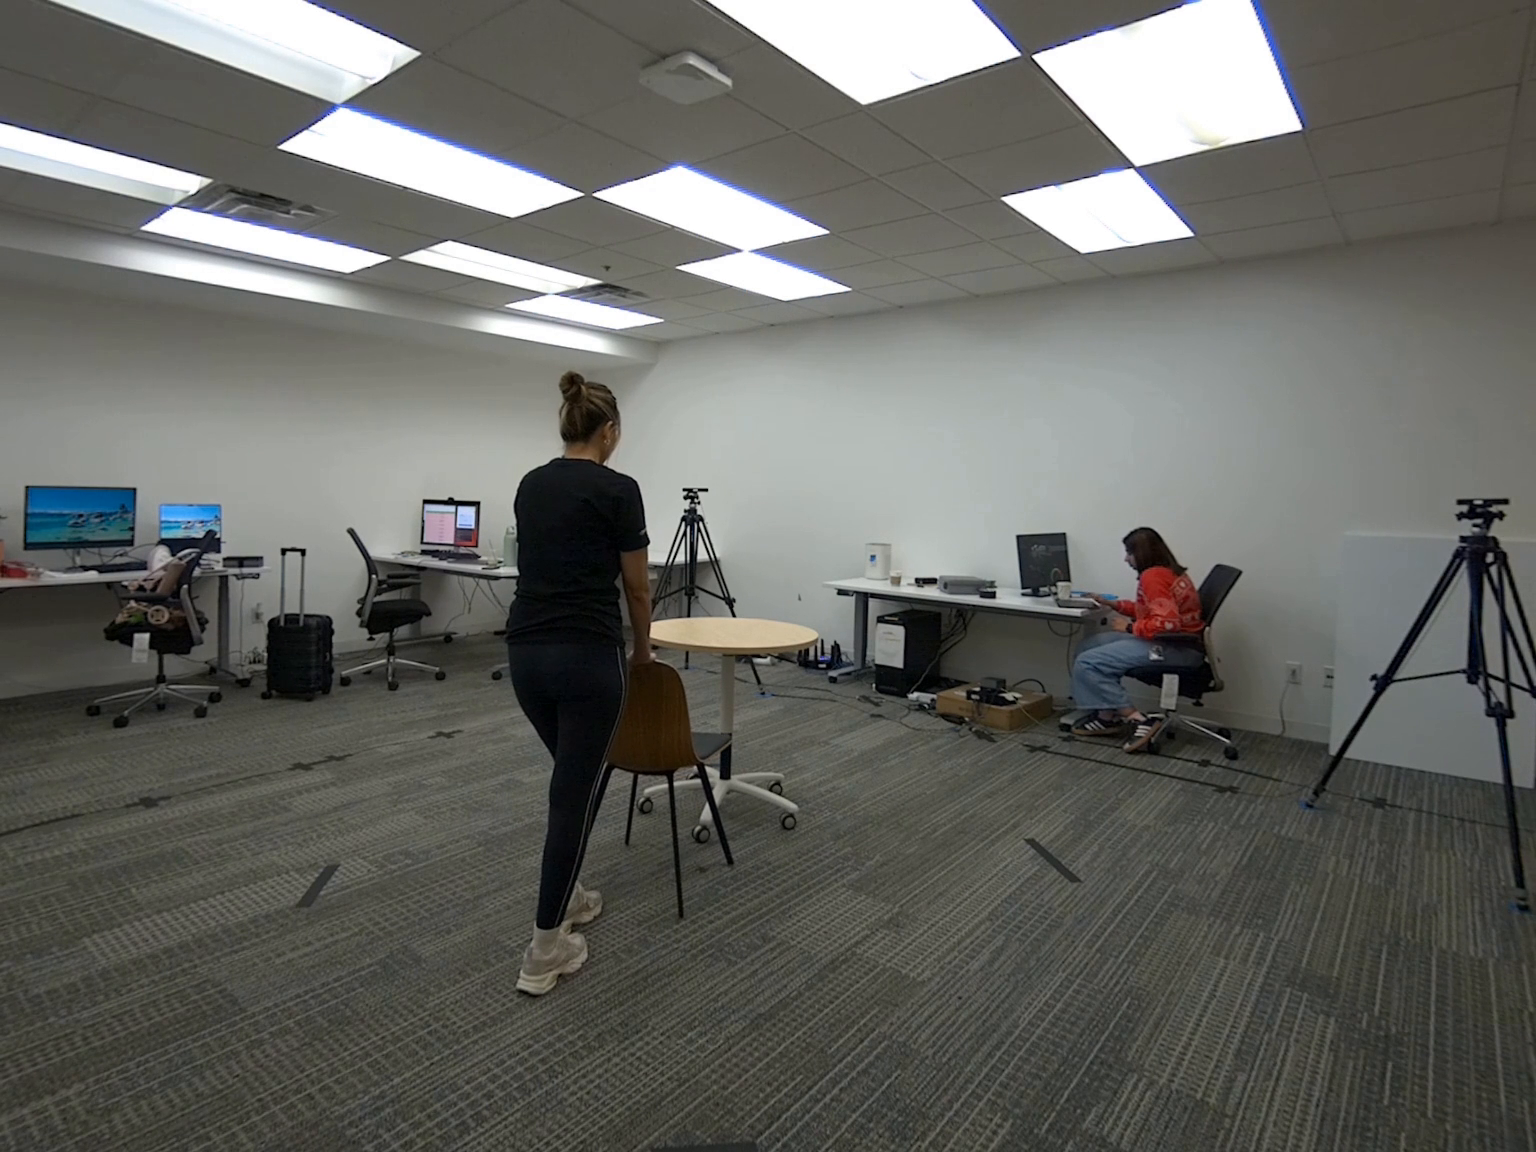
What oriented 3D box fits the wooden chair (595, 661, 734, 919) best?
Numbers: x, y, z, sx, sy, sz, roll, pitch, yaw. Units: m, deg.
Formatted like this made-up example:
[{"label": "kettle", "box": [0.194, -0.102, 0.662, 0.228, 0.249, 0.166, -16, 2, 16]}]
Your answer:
[{"label": "wooden chair", "box": [-0.417, 0.645, 3.015, 0.489, 0.872, 0.515, 2, 7, 21]}]
